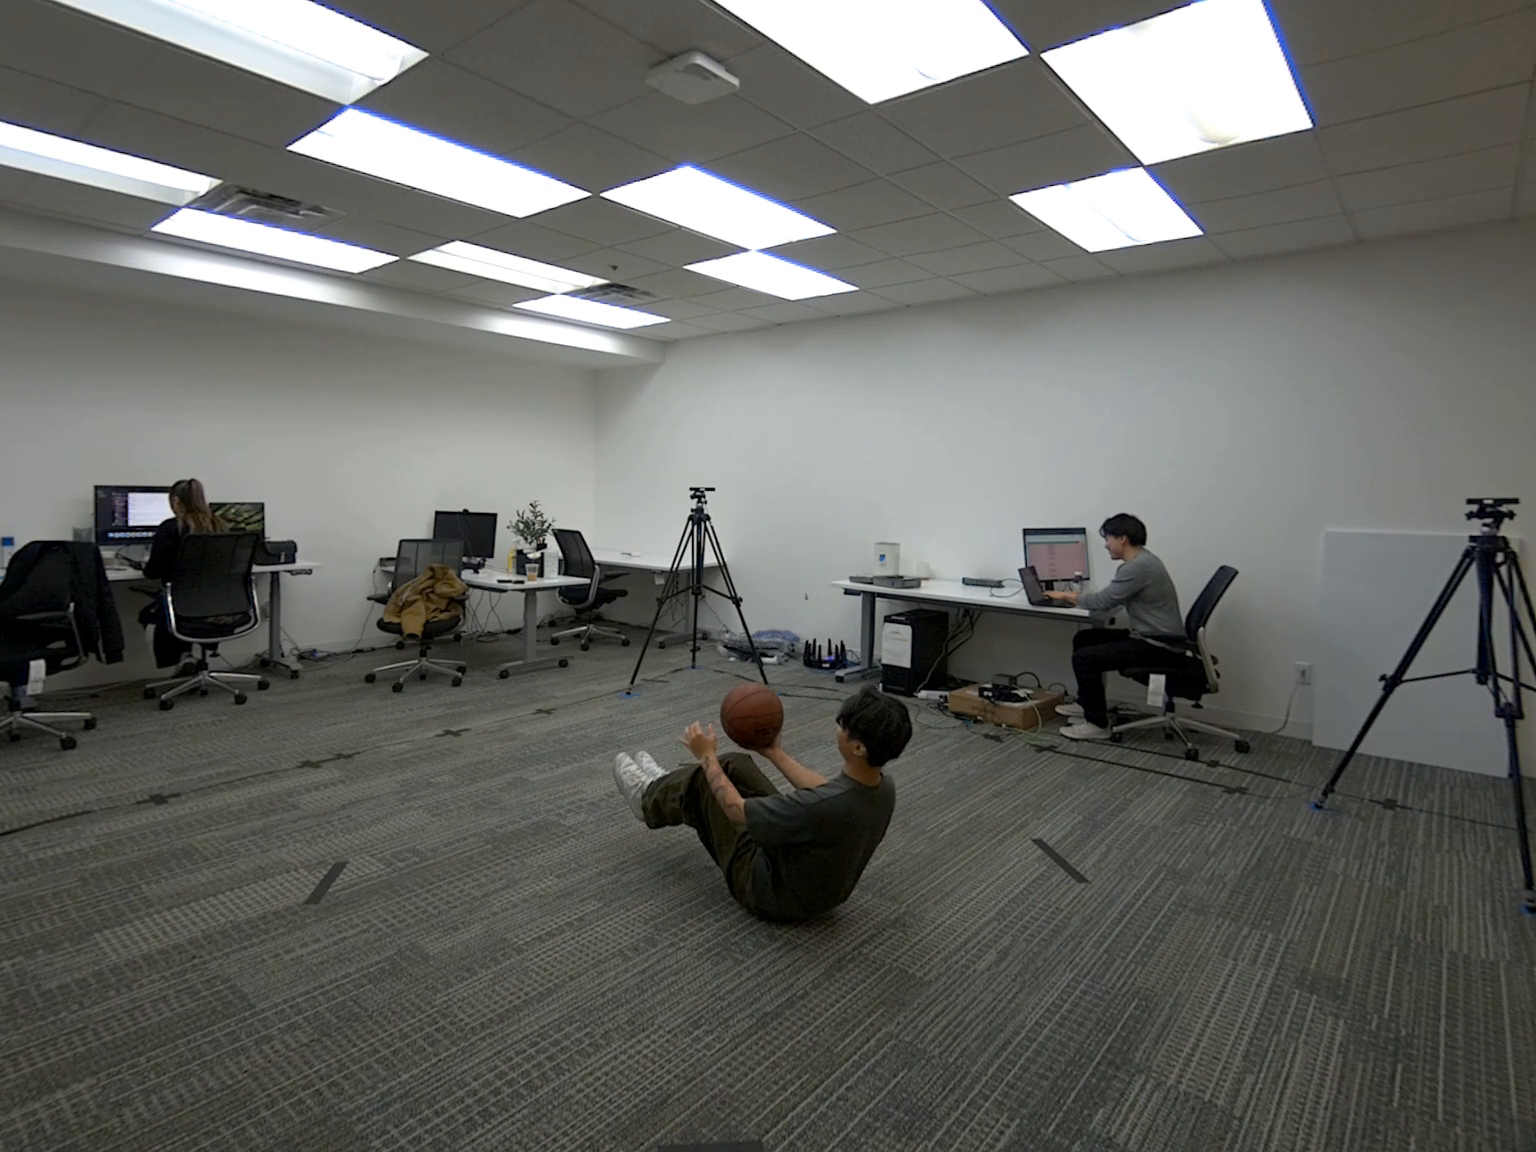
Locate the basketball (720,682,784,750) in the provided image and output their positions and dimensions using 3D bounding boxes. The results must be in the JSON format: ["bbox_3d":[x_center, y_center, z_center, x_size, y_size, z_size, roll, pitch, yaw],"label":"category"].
[{"bbox_3d":[-0.070,0.525,3.172,0.235,0.235,0.237,1,4,-2],"label":"basketball"}]
